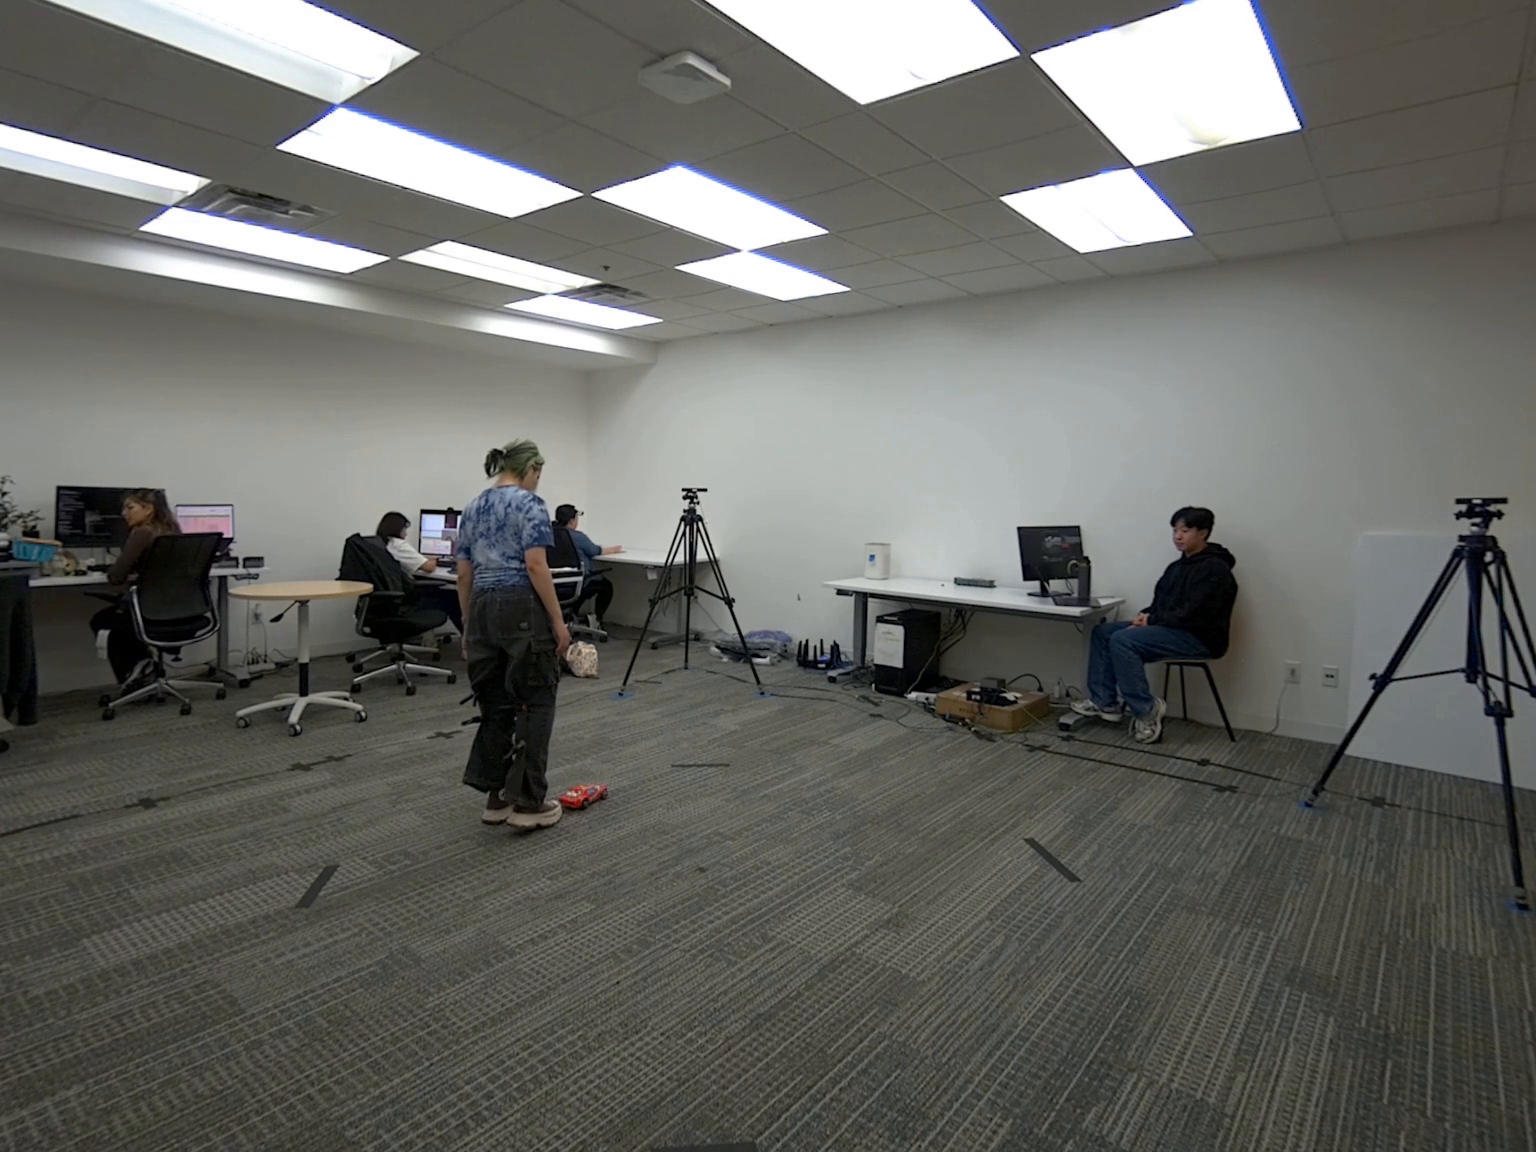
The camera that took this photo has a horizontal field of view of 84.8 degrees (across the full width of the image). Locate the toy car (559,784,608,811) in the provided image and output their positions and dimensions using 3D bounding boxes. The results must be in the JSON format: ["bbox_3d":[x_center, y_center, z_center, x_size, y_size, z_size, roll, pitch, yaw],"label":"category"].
[{"bbox_3d":[-0.829,0.970,3.745,0.134,0.083,0.246,3,-6,27],"label":"toy car"}]
